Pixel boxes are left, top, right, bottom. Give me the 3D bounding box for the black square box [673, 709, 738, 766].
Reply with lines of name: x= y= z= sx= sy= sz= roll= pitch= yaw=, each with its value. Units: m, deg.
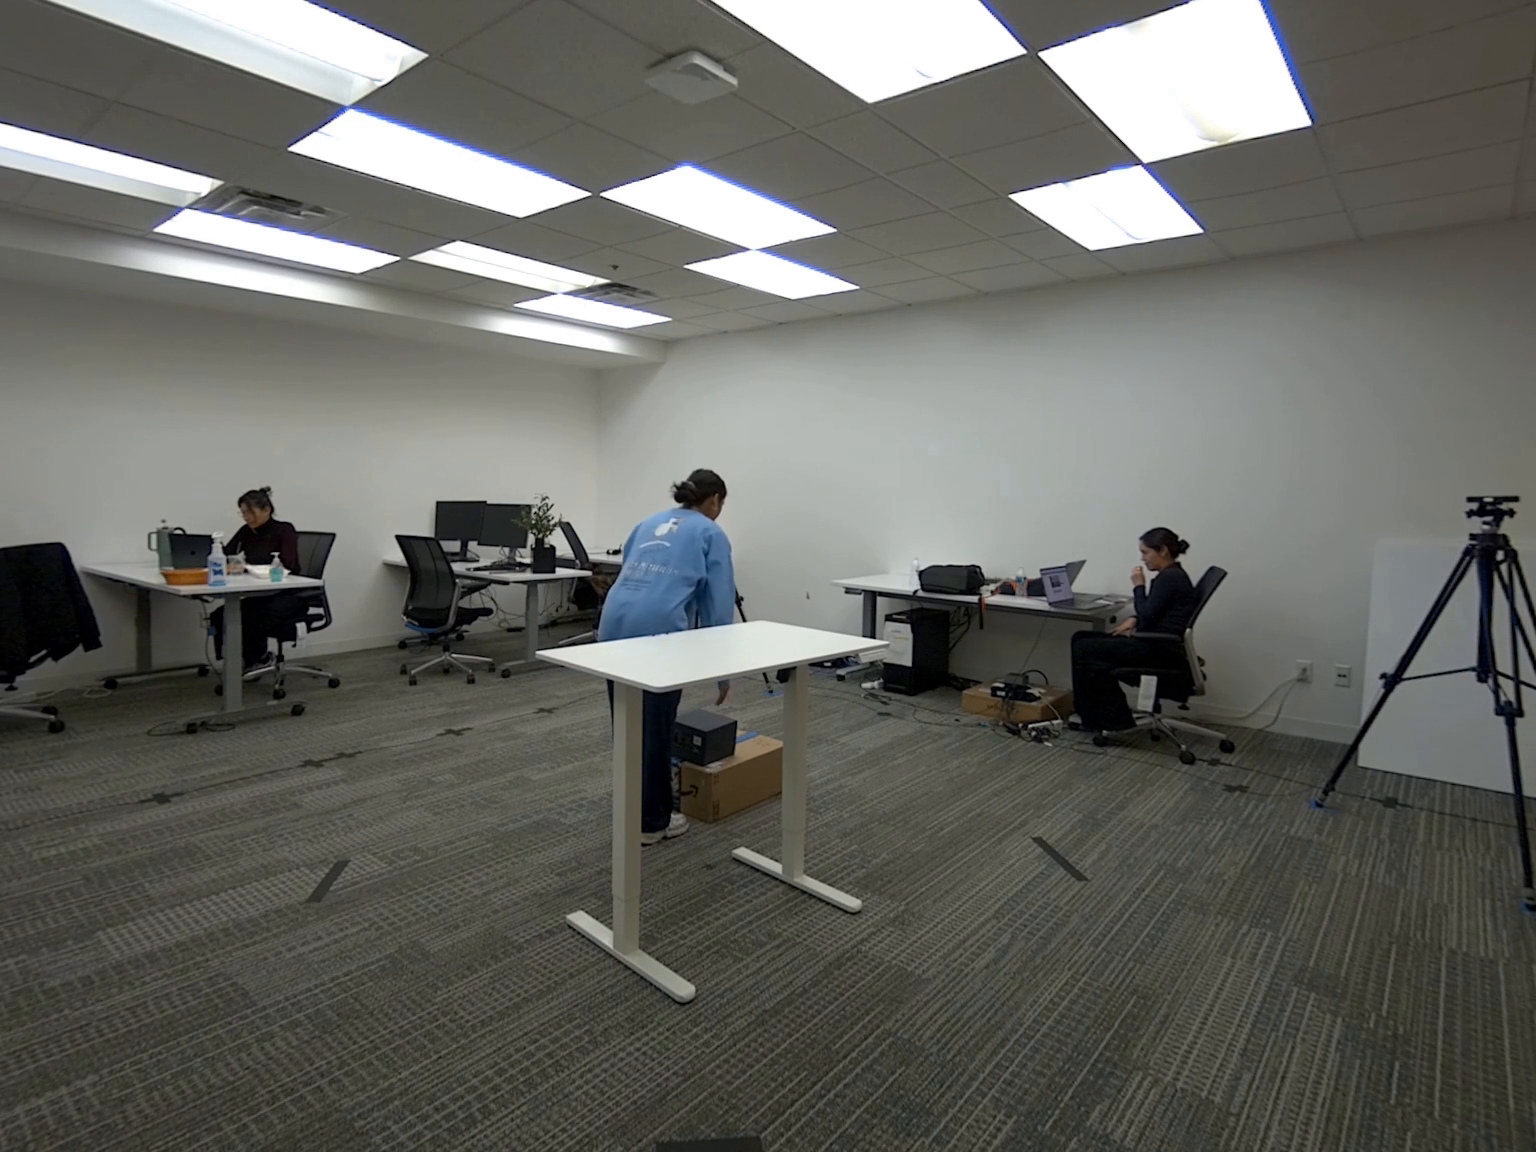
black square box: x=-0.299 y=0.694 z=3.719 sx=0.224 sy=0.155 sz=0.221 roll=9 pitch=9 yaw=35
